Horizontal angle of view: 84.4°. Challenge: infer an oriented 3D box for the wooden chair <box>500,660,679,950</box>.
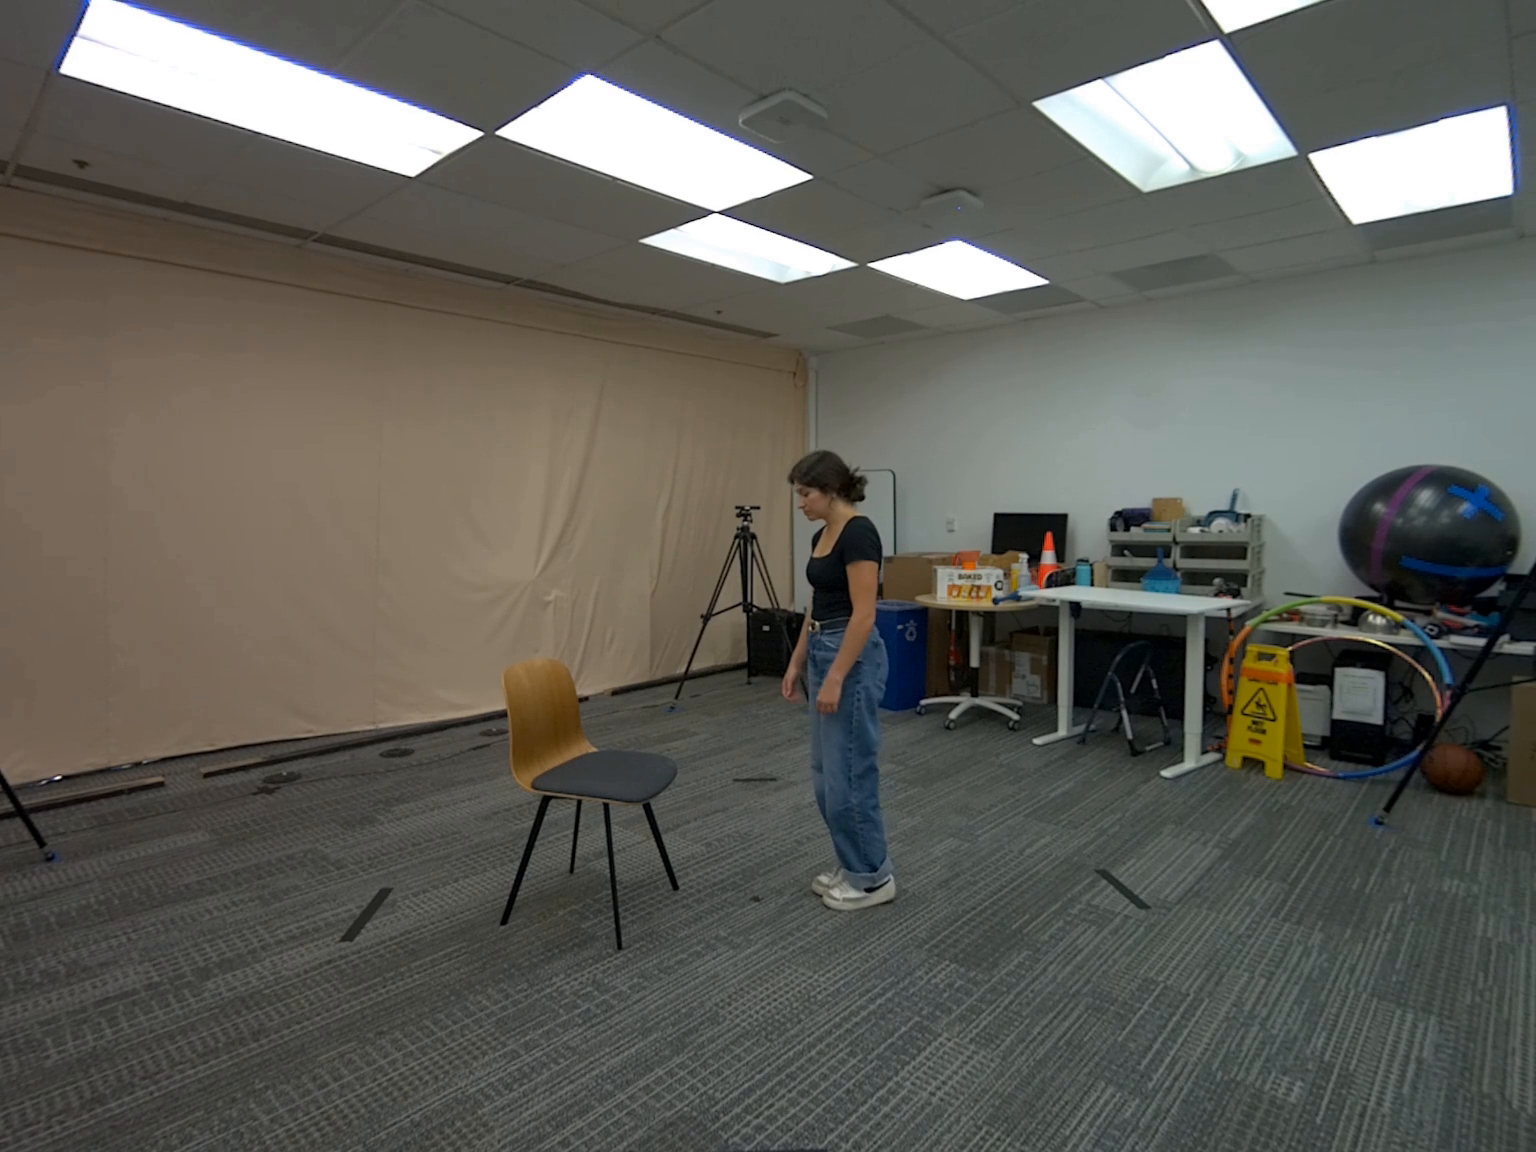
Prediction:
[{"bbox_3d":[-0.603,0.733,2.906,0.534,0.877,0.468,-4,1,21],"label":"wooden chair"}]
